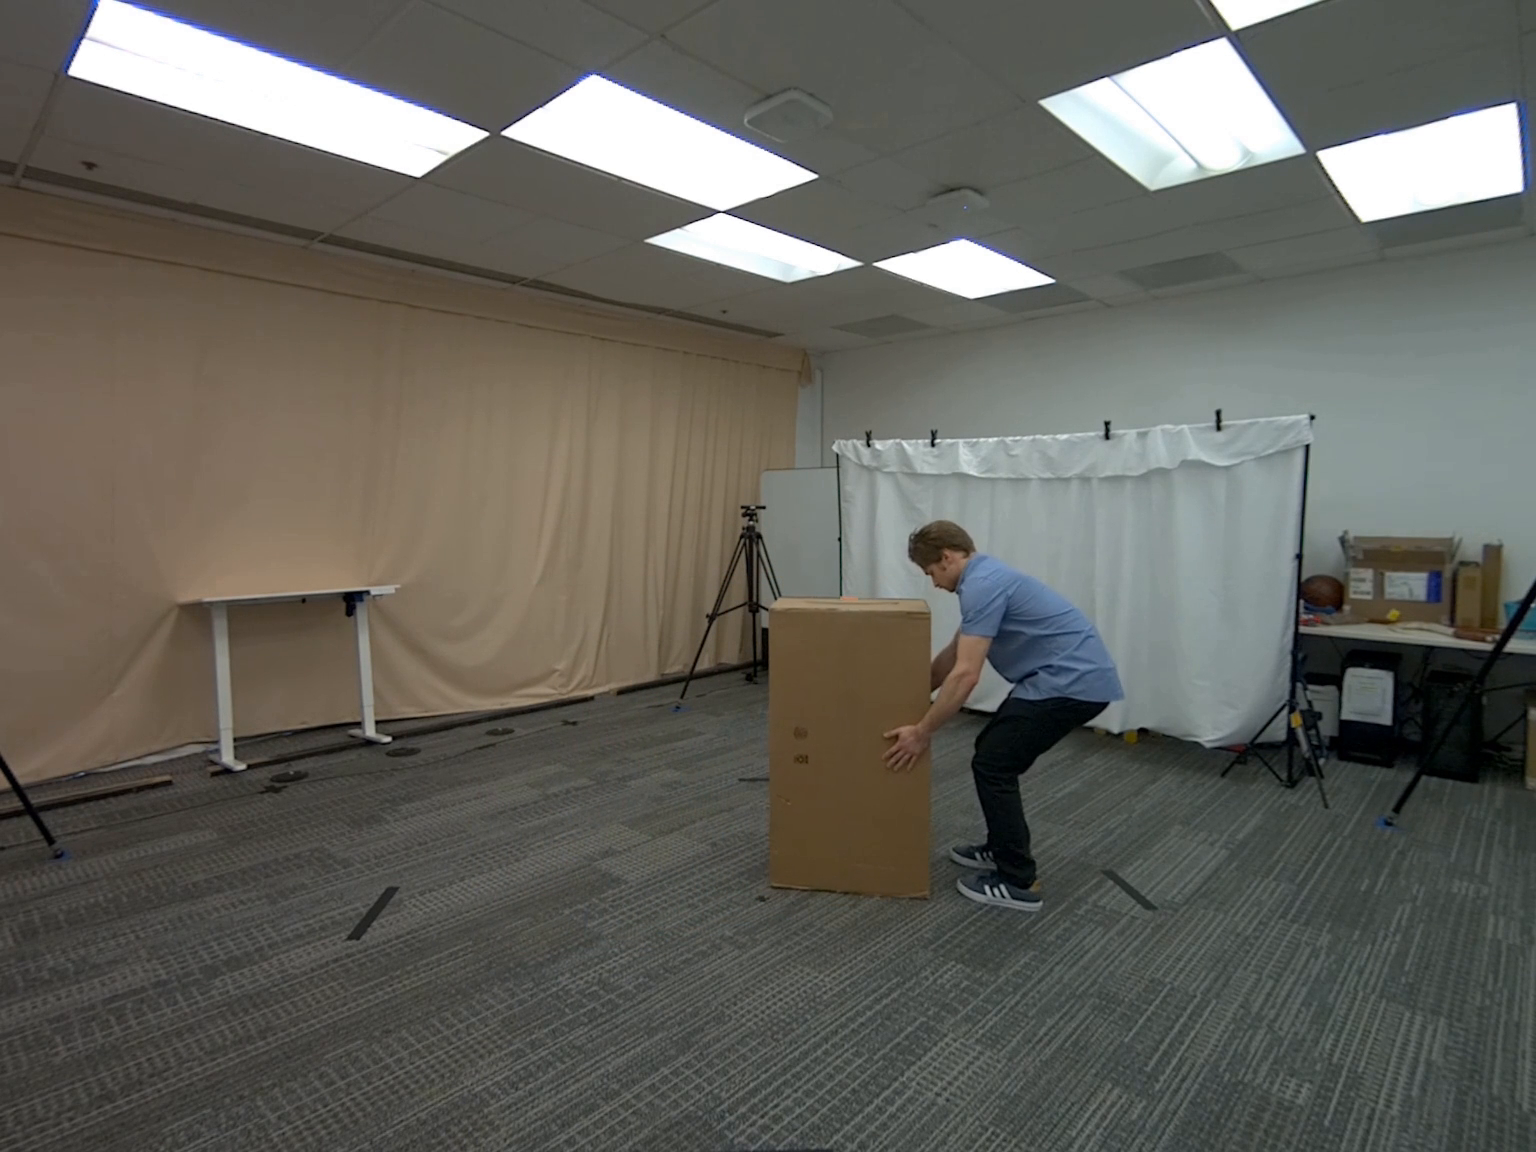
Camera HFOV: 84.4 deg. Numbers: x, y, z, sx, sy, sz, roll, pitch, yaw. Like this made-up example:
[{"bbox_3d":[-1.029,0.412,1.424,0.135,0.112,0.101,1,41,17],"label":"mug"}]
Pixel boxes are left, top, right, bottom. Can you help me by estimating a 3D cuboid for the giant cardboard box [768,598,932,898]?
[{"bbox_3d":[0.312,0.616,3.210,0.584,1.024,0.422,0,2,9],"label":"giant cardboard box"}]
